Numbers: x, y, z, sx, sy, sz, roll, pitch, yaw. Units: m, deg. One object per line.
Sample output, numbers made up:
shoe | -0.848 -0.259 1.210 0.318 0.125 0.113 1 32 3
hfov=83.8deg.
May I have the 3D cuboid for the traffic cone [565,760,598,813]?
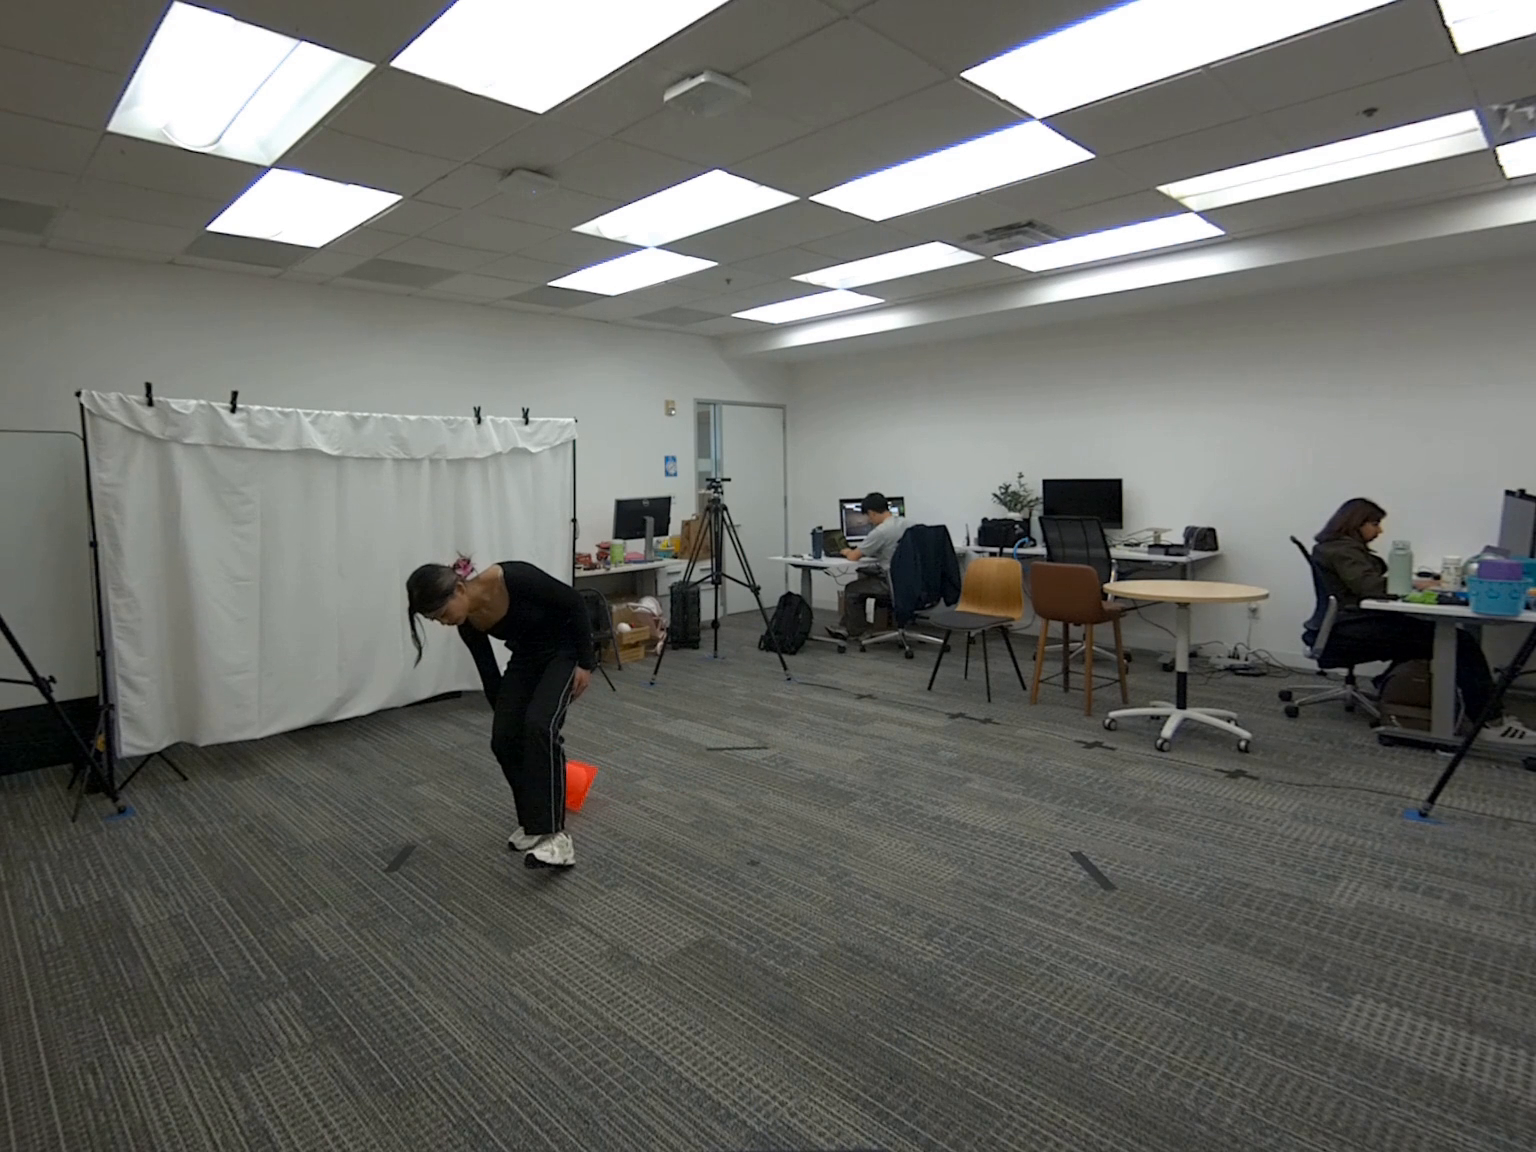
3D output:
traffic cone | -0.950 0.817 3.606 0.211 0.205 0.369 3 -31 45
